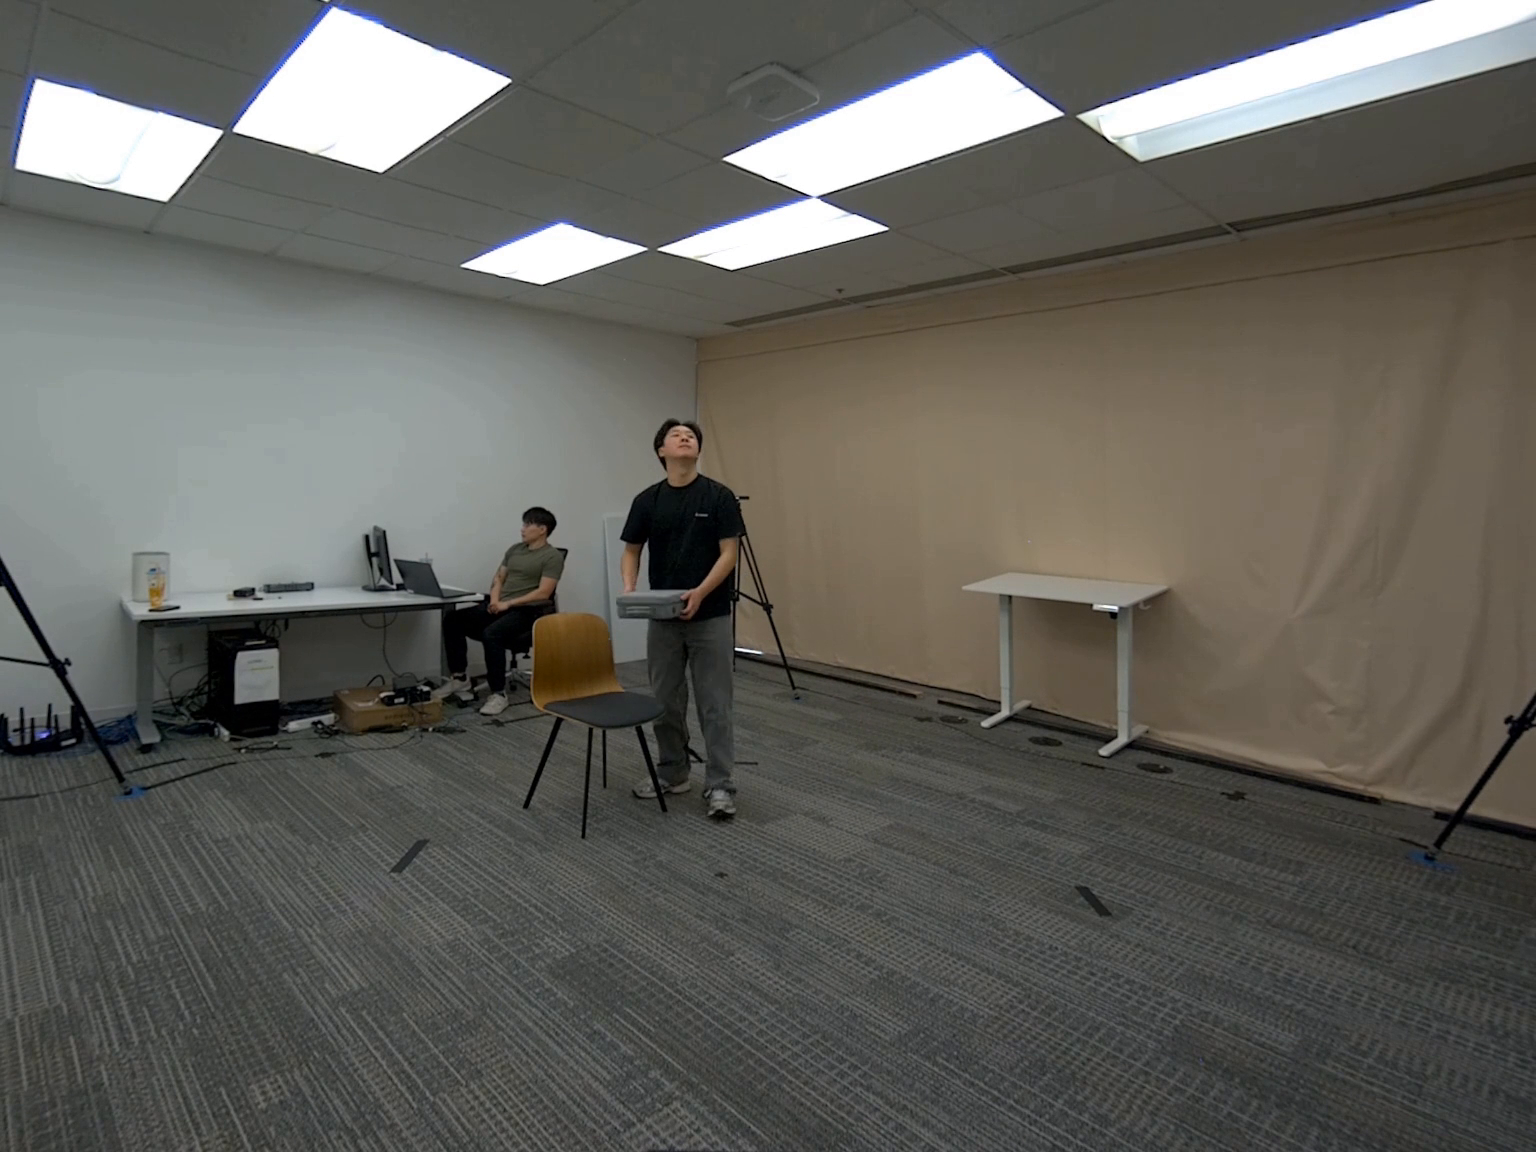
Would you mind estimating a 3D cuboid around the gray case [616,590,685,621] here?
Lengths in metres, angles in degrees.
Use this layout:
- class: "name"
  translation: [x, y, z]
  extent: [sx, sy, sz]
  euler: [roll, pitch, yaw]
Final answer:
- class: "gray case"
  translation: [-0.507, 0.130, 3.584]
  extent: [0.266, 0.103, 0.285]
  euler: [-1, 3, 12]
